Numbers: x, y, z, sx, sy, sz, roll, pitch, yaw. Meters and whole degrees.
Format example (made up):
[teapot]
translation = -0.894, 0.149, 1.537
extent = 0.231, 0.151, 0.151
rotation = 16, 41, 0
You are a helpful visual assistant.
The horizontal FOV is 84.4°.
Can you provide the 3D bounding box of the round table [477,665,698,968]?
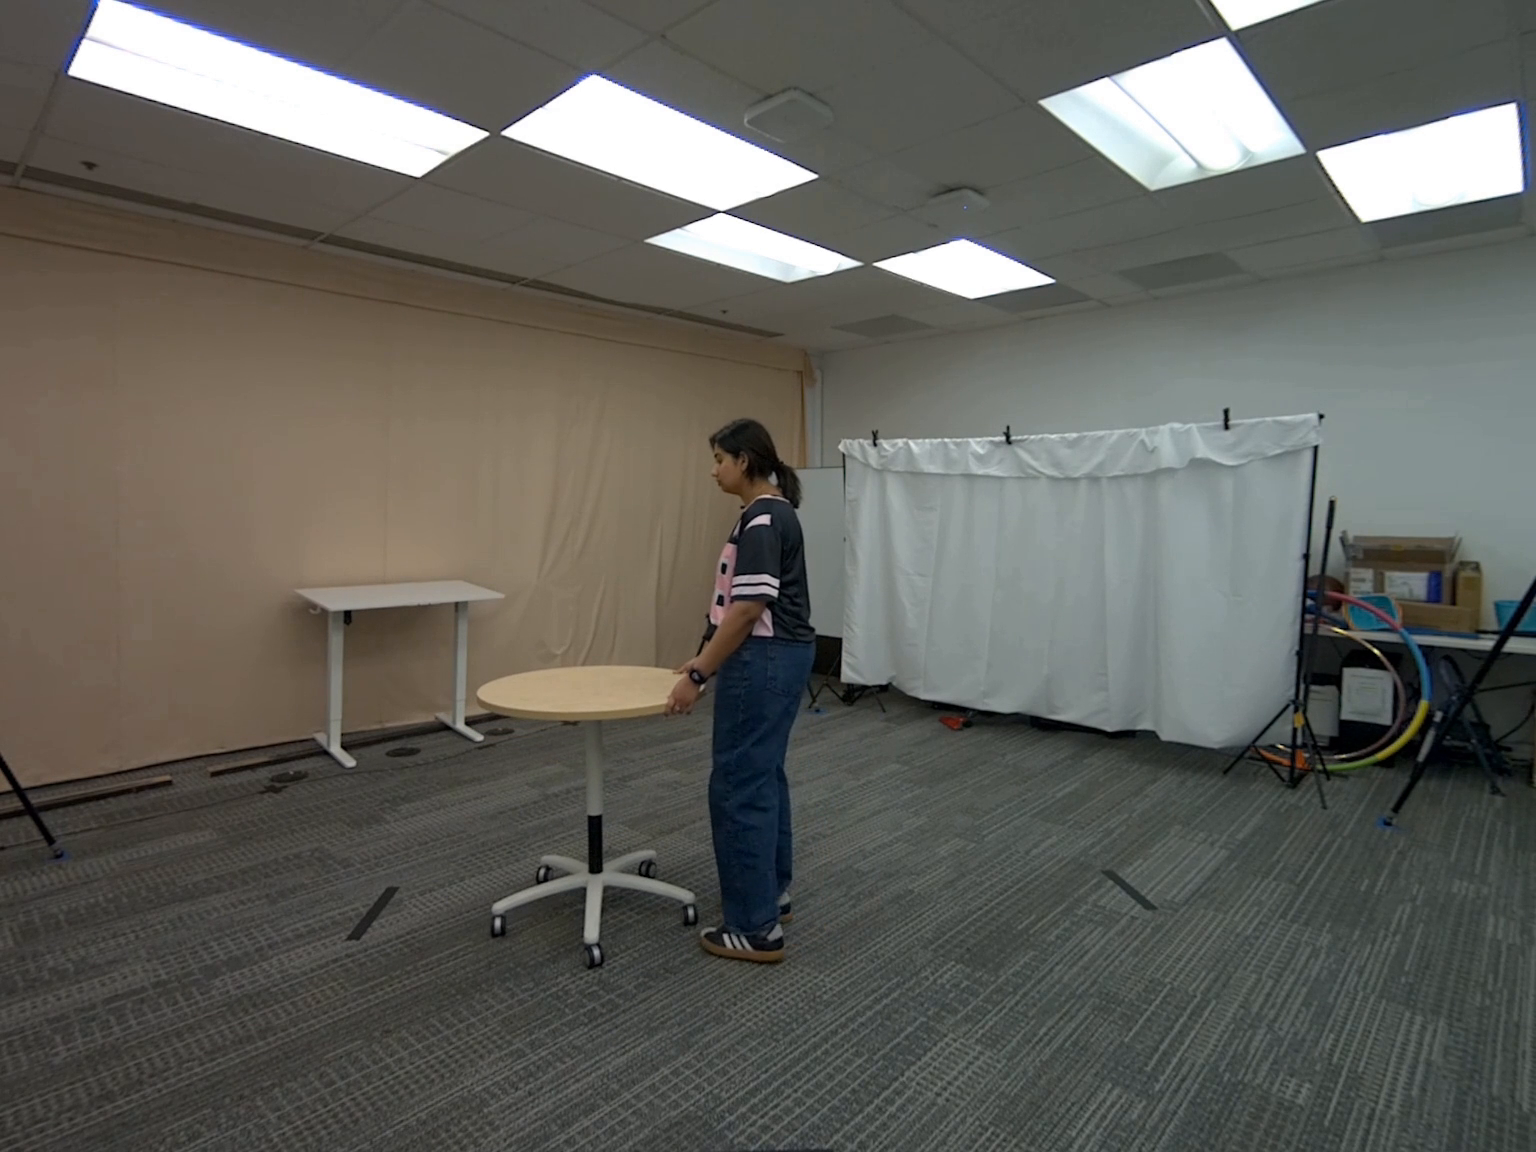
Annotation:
[round table]
translation = -0.585, 0.769, 2.876
extent = 0.784, 0.785, 0.787
rotation = -1, 3, -2
